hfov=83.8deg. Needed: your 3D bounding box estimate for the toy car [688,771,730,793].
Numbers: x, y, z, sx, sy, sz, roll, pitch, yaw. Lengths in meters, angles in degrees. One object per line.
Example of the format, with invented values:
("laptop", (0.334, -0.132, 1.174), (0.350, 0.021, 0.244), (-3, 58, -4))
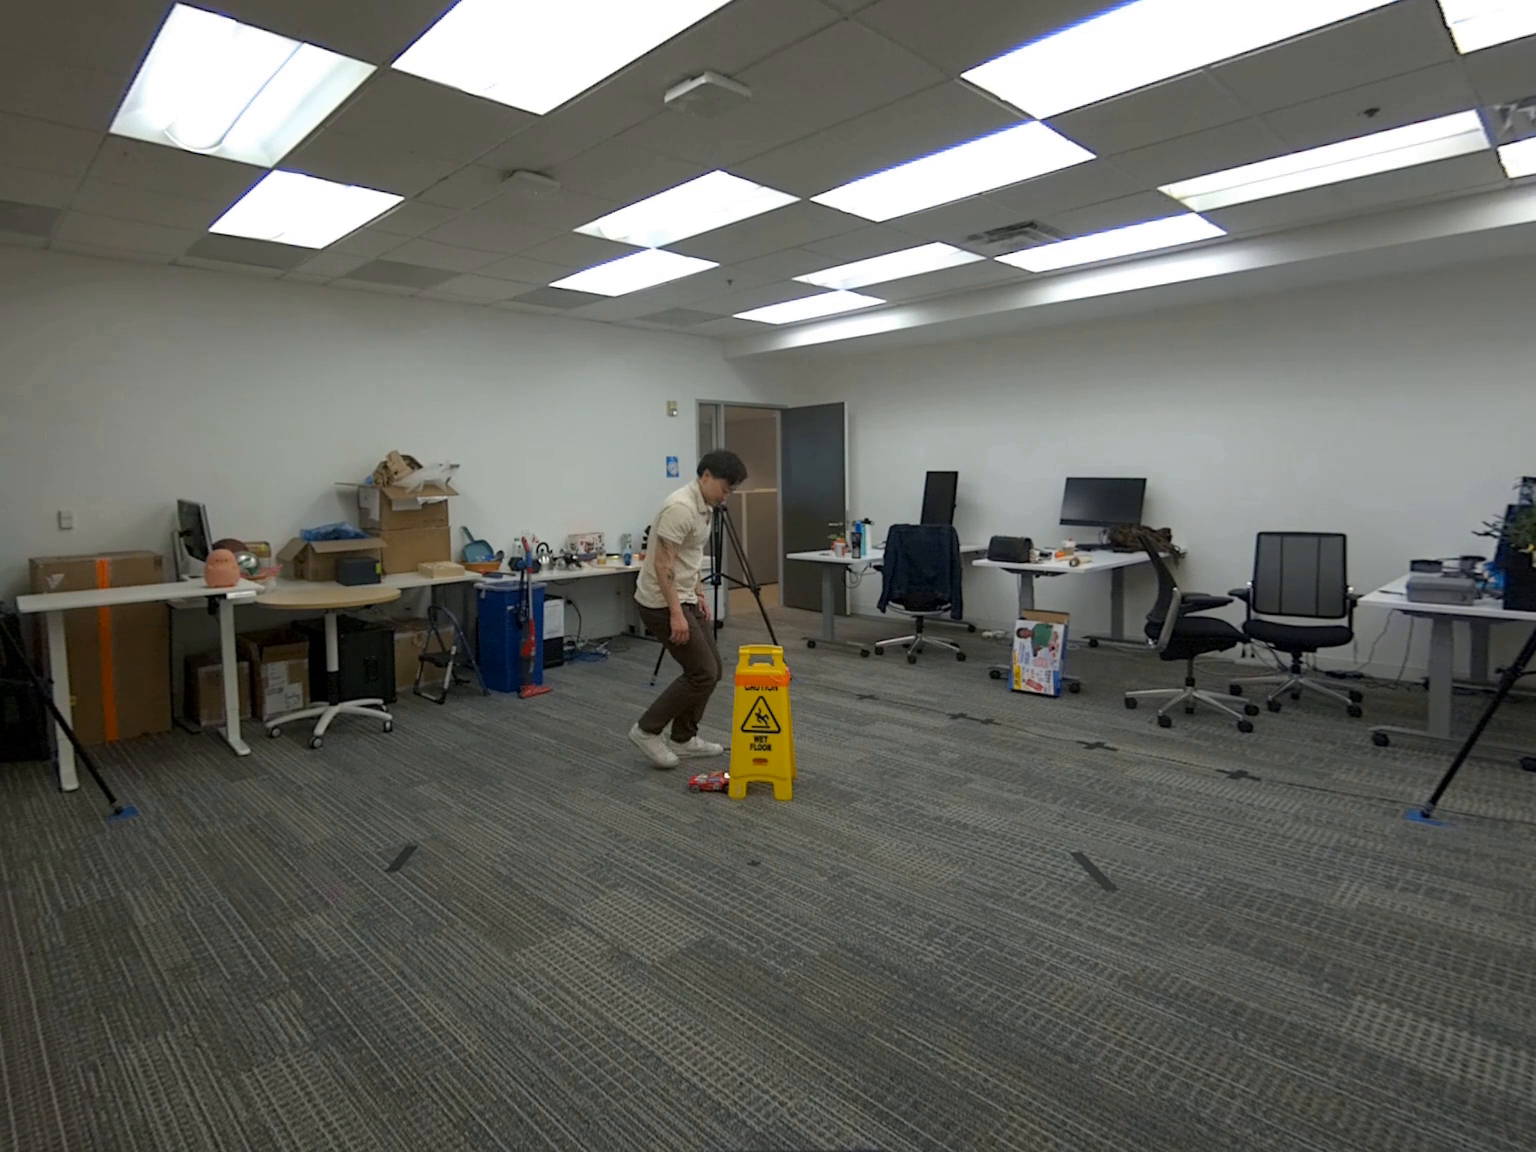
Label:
("toy car", (-0.227, 0.934, 3.868), (0.255, 0.083, 0.130), (-12, 5, 5))
